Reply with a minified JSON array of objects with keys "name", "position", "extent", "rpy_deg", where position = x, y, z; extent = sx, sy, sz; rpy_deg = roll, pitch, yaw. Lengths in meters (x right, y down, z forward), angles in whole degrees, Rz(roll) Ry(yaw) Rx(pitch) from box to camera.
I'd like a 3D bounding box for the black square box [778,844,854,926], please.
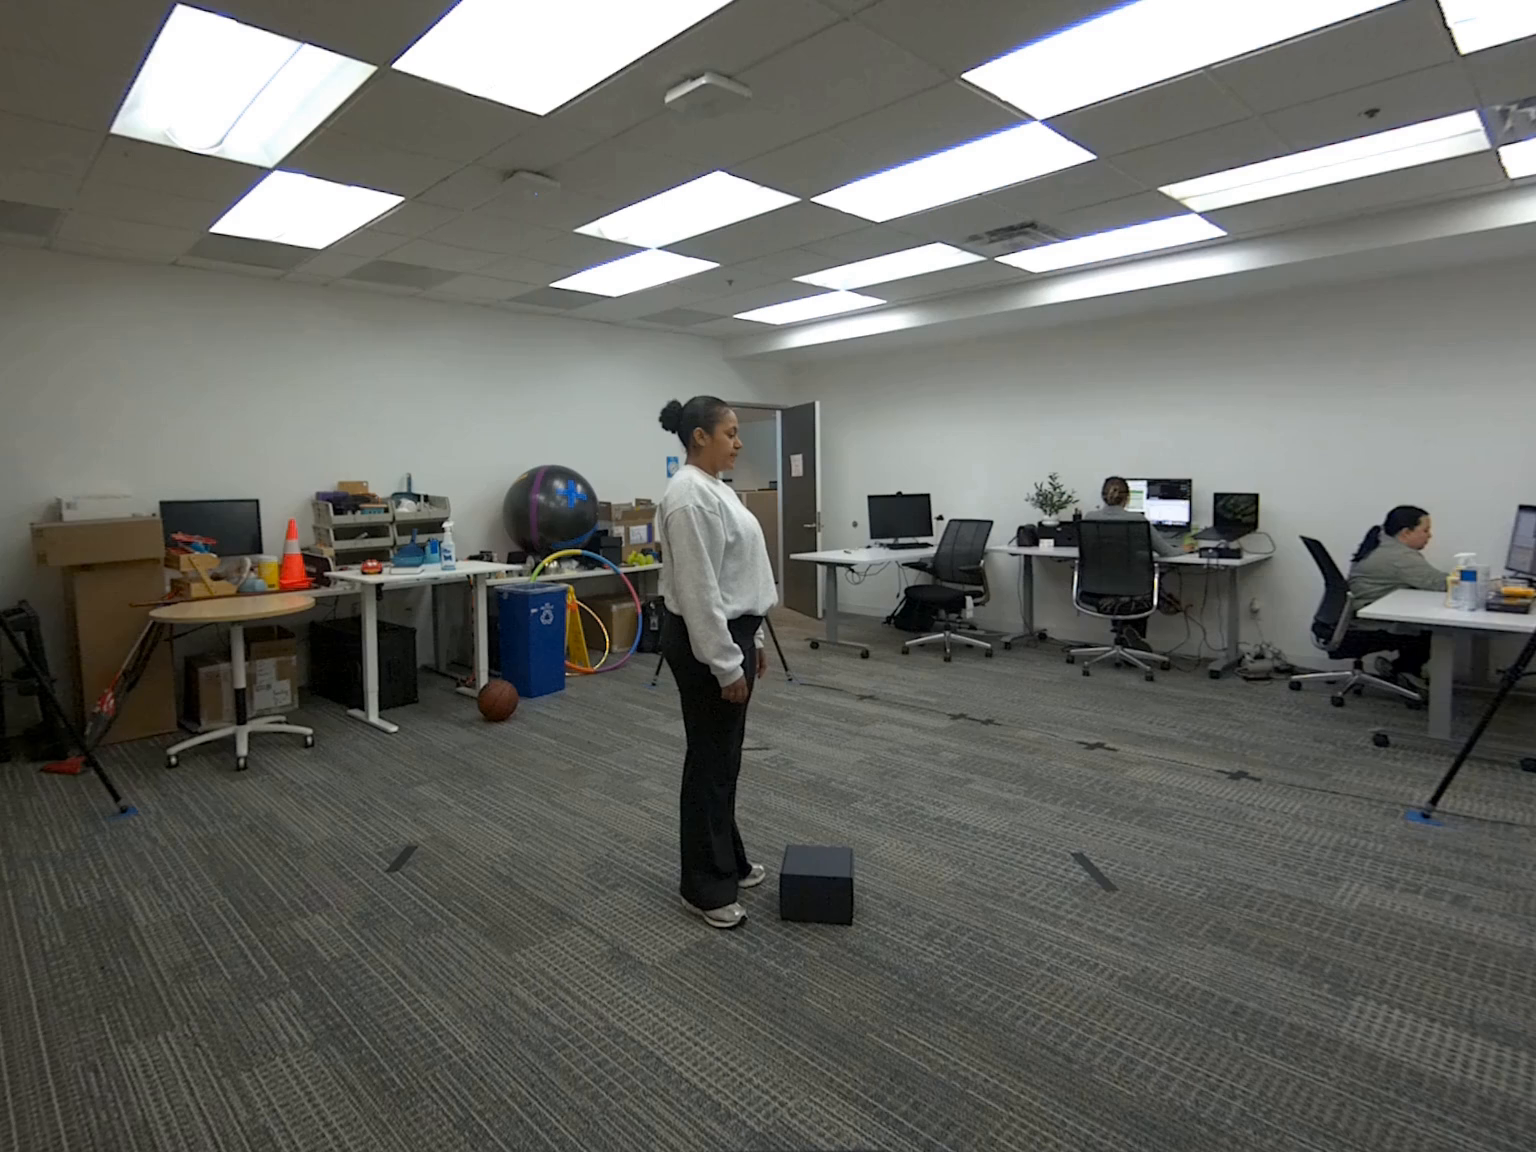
[{"name":"black square box","position":[0.163,0.987,2.775],"extent":[0.230,0.155,0.216],"rpy_deg":[0,6,8]}]
